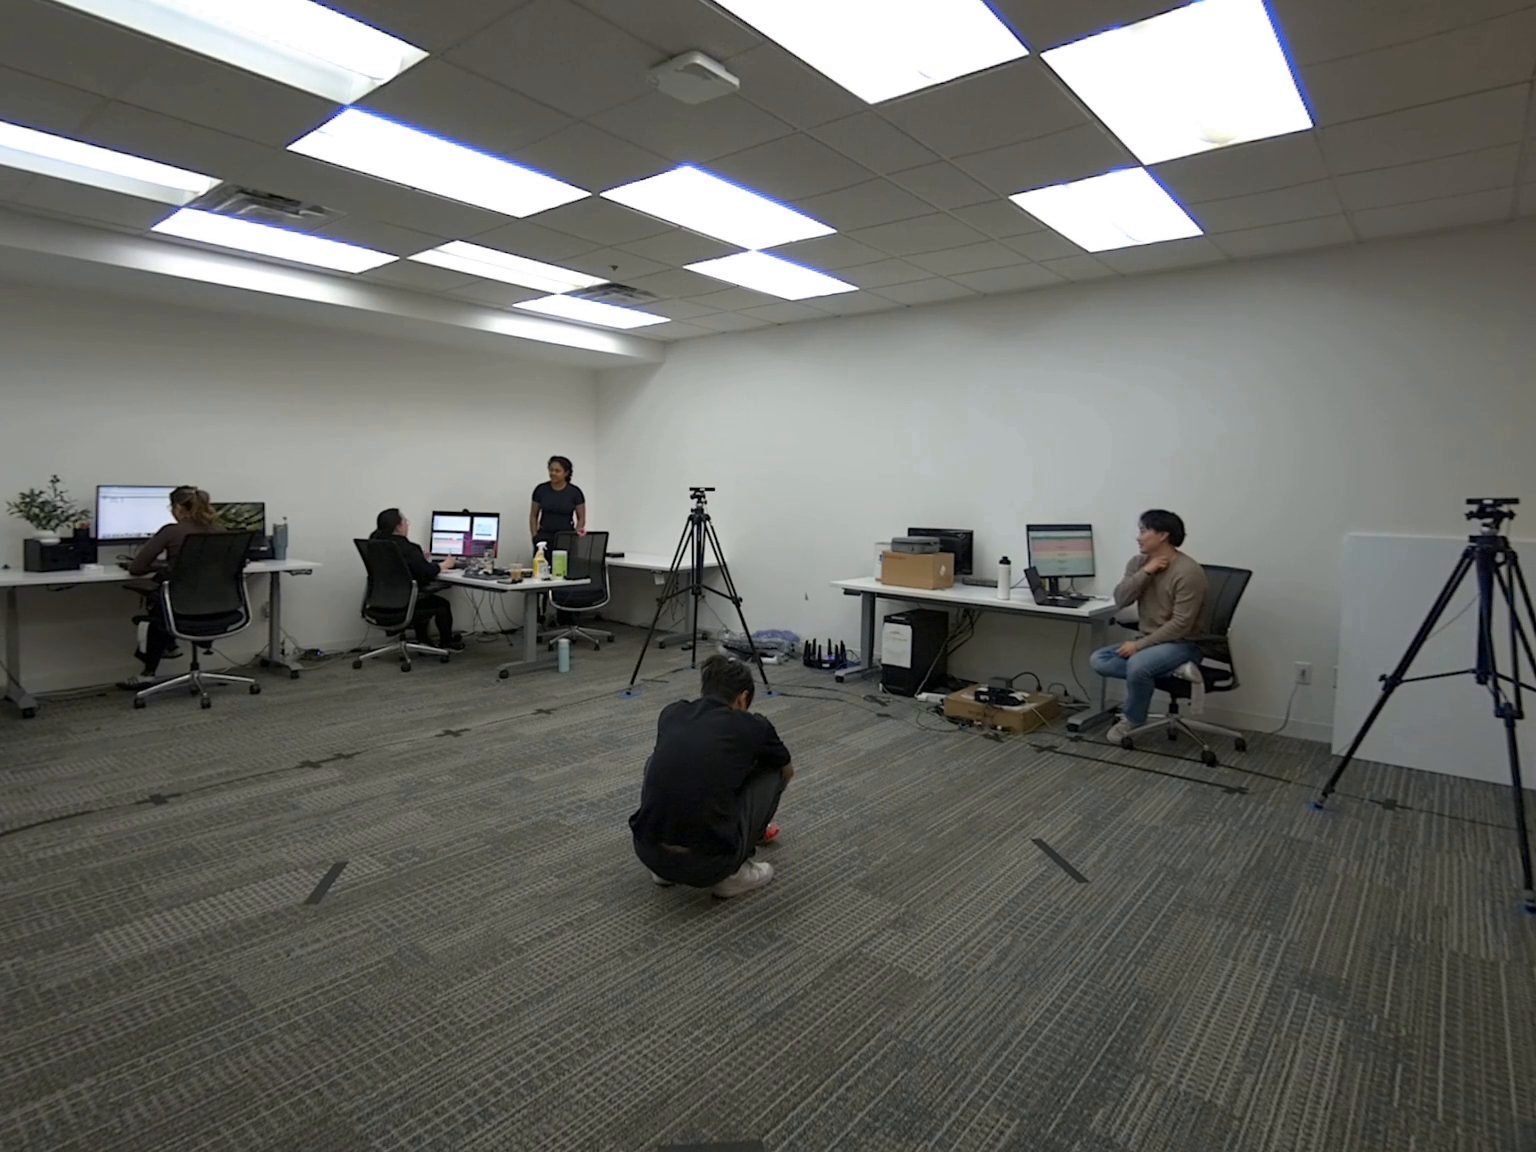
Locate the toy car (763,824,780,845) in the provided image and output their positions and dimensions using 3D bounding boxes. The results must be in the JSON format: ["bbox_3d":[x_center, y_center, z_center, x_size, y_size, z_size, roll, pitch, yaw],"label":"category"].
[{"bbox_3d":[-0.076,1.008,3.385,0.260,0.083,0.127,-10,-3,32],"label":"toy car"}]
